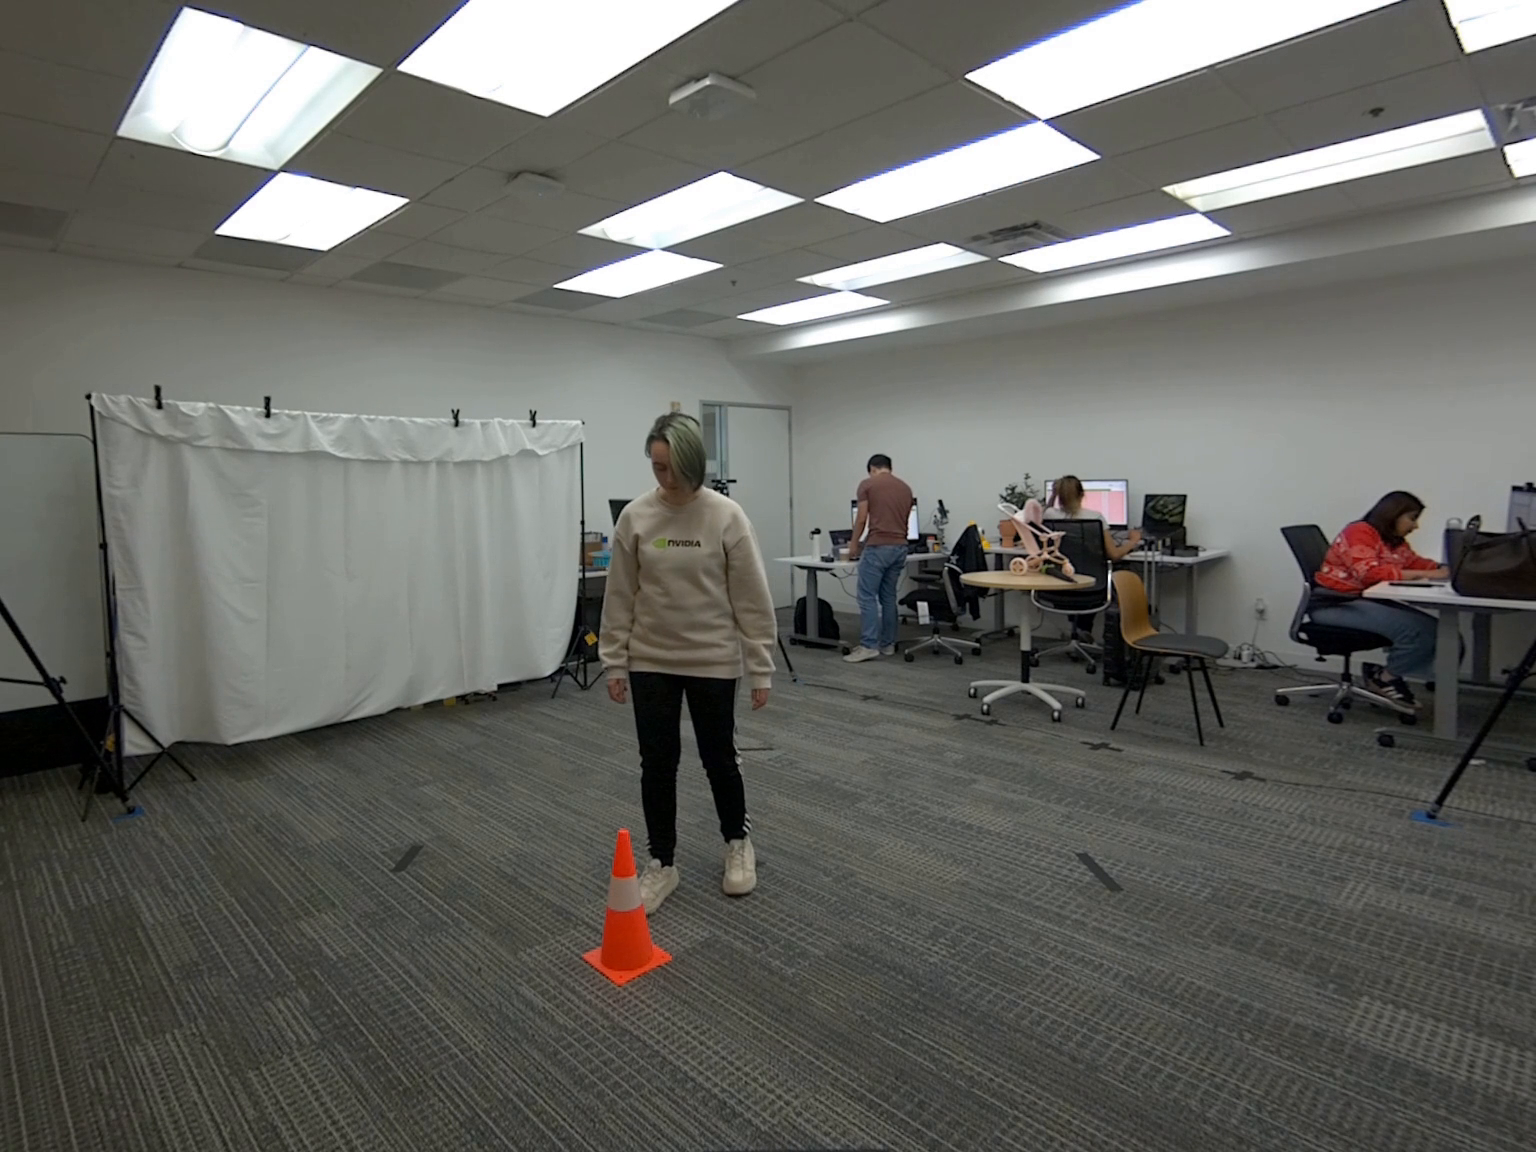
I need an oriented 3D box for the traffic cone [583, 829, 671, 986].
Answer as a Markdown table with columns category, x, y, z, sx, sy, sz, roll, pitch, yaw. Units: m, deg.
| category | x | y | z | sx | sy | sz | roll | pitch | yaw |
| --- | --- | --- | --- | --- | --- | --- | --- | --- | --- |
| traffic cone | -0.420 | 0.940 | 2.512 | 0.198 | 0.383 | 0.211 | -4 | 3 | -43 |
